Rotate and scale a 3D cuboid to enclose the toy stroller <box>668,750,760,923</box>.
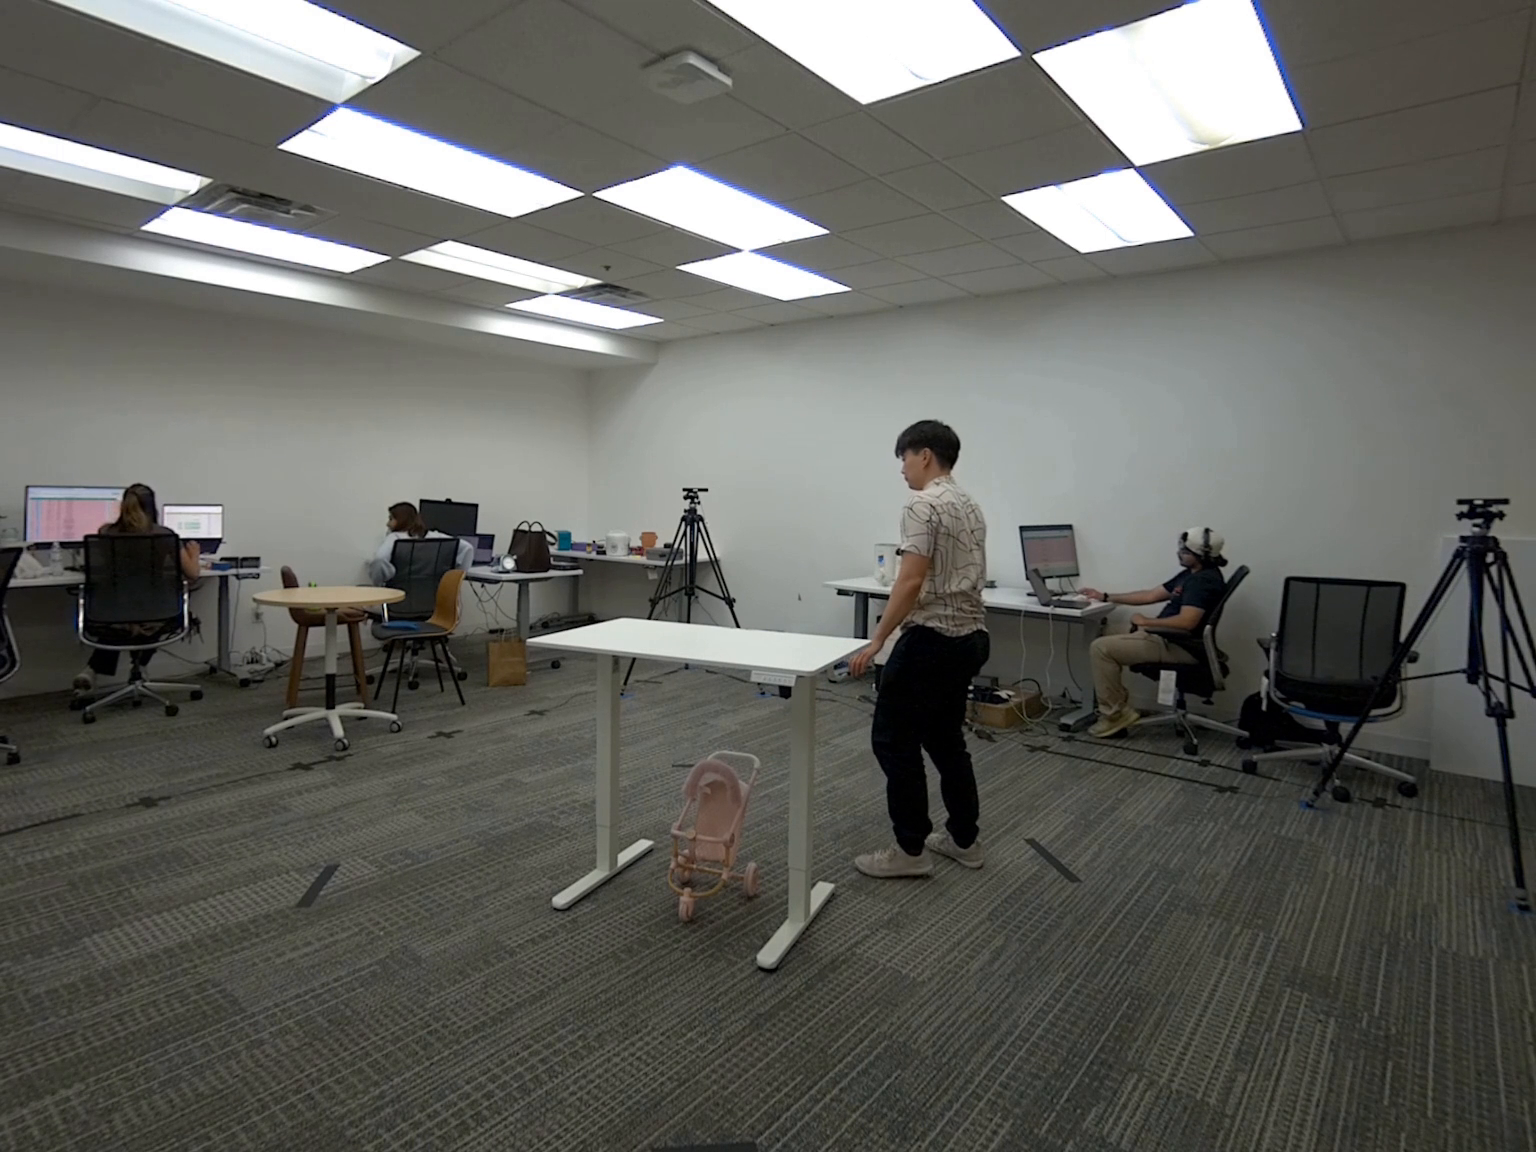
[{"bbox_3d":[-0.204,0.863,2.899,0.289,0.540,0.329,2,-12,26],"label":"toy stroller"}]
